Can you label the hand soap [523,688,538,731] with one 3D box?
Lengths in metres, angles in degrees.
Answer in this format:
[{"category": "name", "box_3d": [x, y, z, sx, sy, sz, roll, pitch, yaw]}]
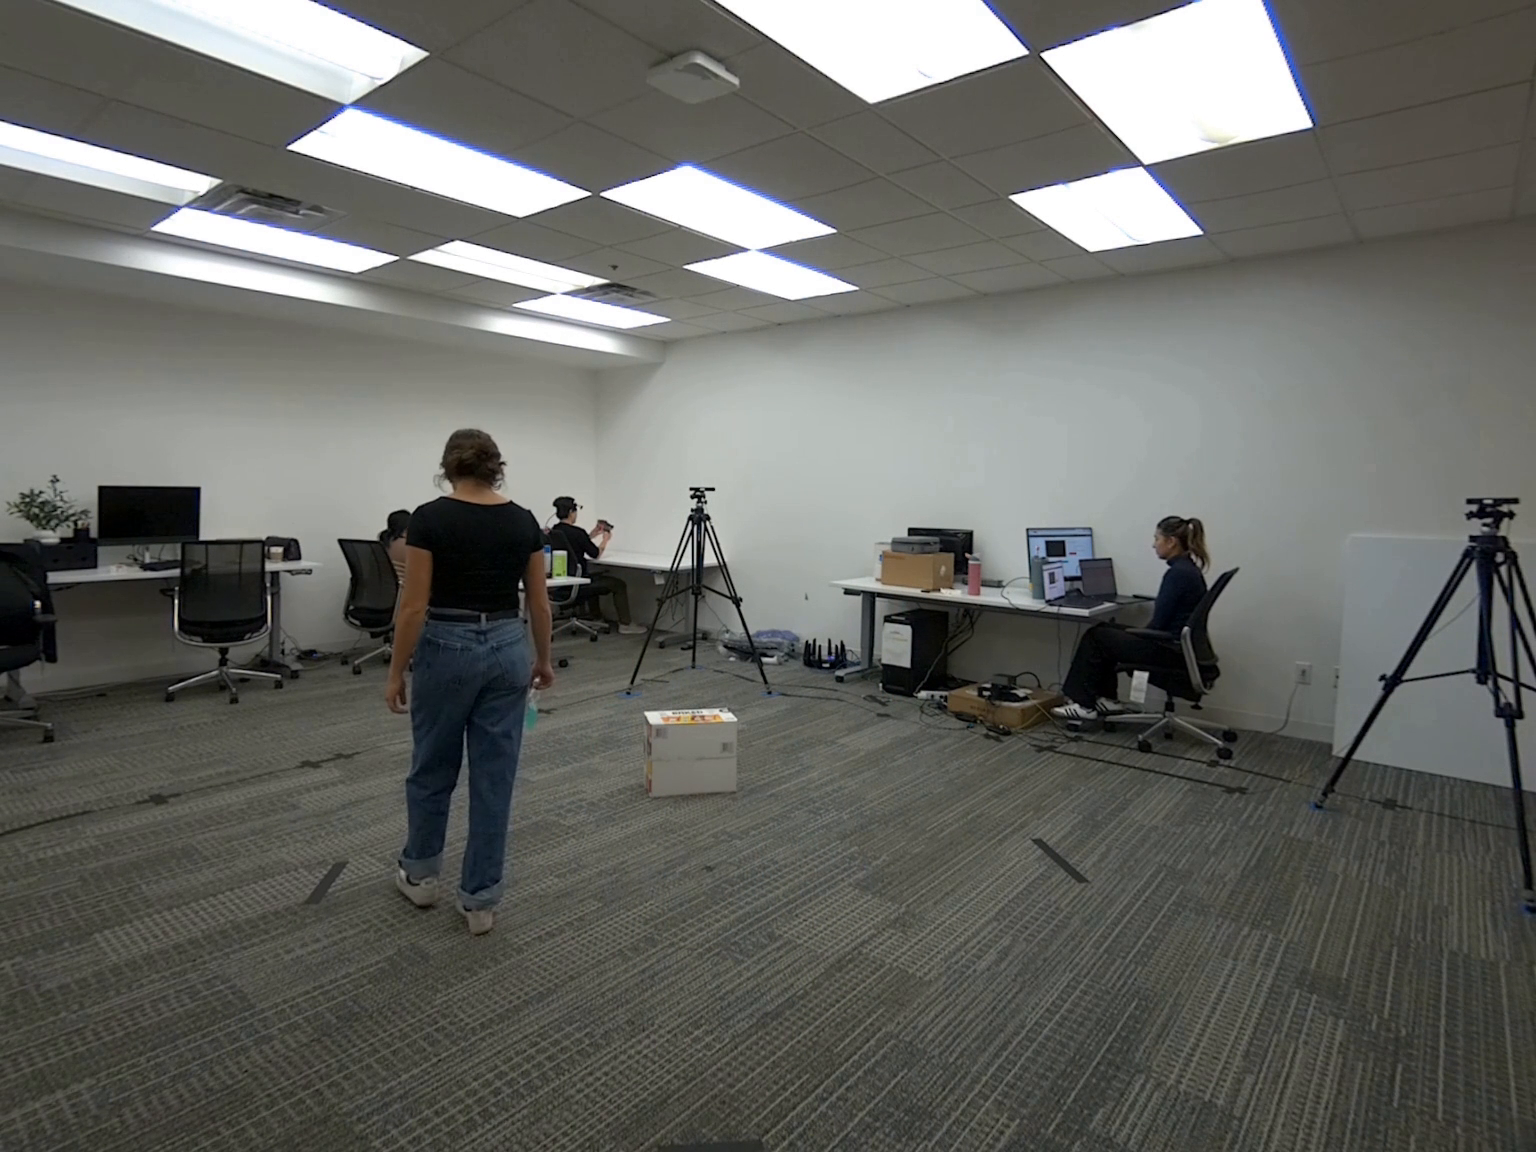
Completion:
[{"category": "hand soap", "box_3d": [-0.836, 0.447, 2.964, 0.042, 0.166, 0.087, 2, 12, -25]}]
